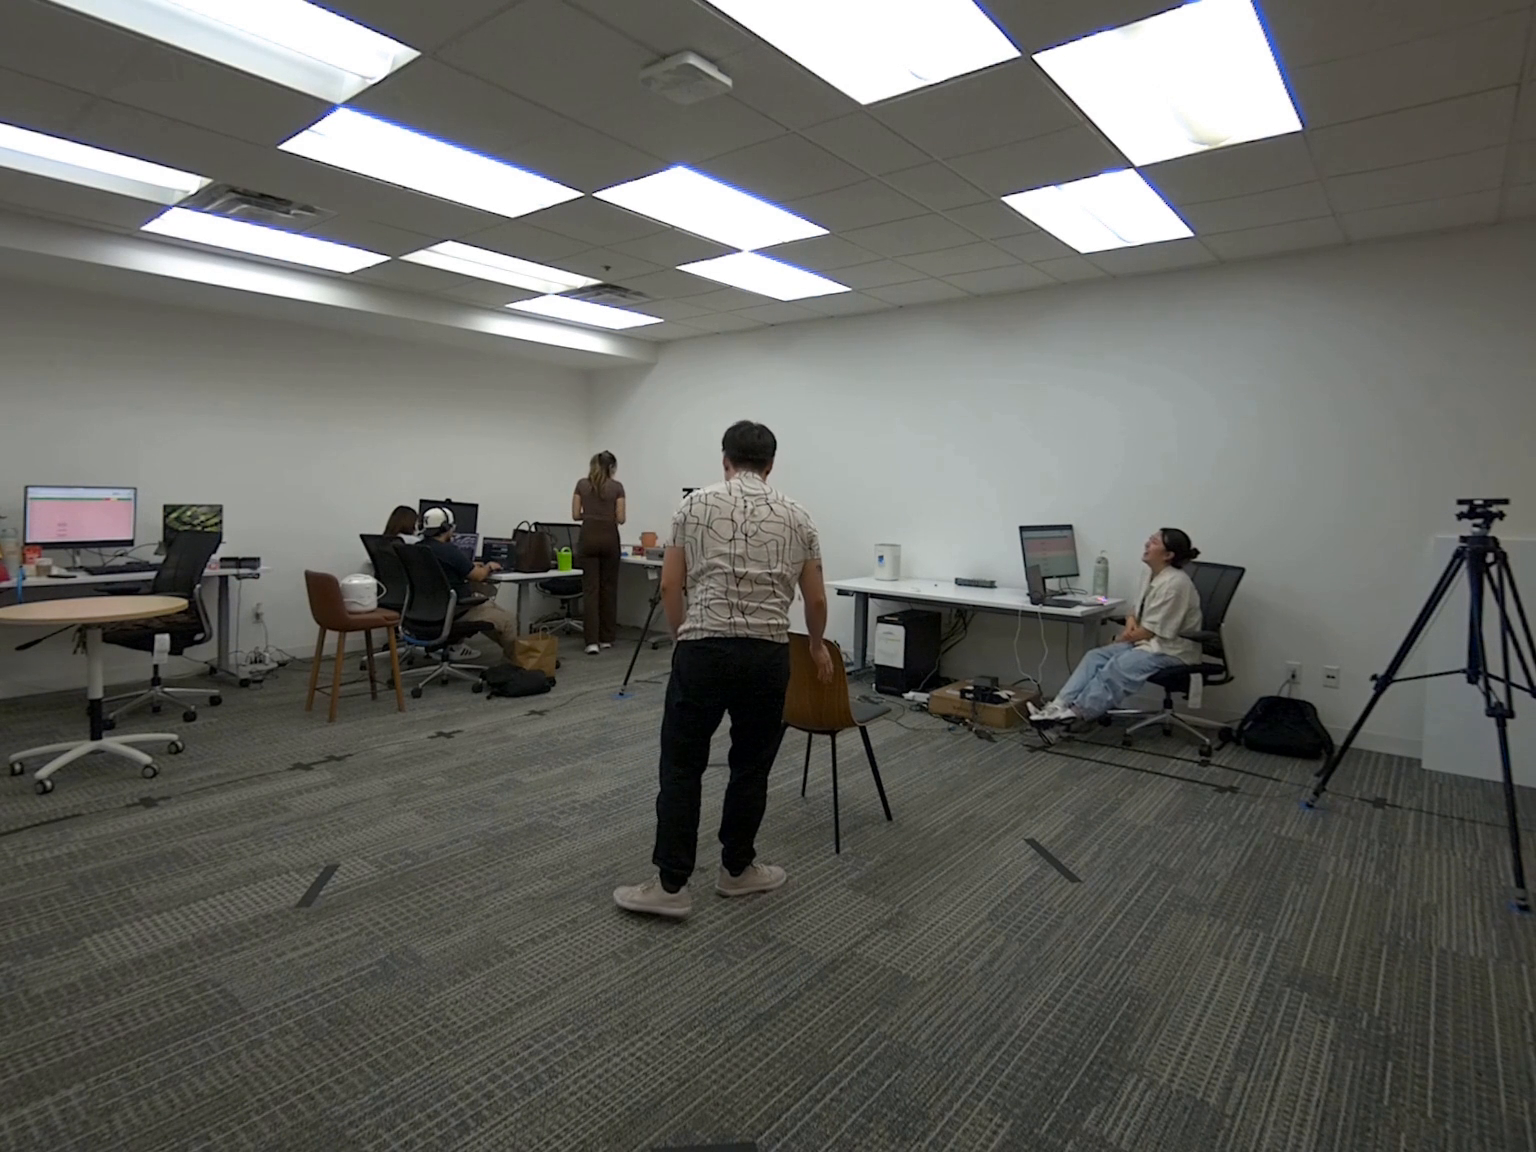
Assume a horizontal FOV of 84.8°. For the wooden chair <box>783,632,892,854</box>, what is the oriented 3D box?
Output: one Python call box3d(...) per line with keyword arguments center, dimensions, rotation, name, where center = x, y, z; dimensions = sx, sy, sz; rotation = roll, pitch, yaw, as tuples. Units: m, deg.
box3d(center=(0.217, 0.605, 3.555), dimensions=(0.493, 0.872, 0.510), rotation=(3, 8, 36), name="wooden chair")
